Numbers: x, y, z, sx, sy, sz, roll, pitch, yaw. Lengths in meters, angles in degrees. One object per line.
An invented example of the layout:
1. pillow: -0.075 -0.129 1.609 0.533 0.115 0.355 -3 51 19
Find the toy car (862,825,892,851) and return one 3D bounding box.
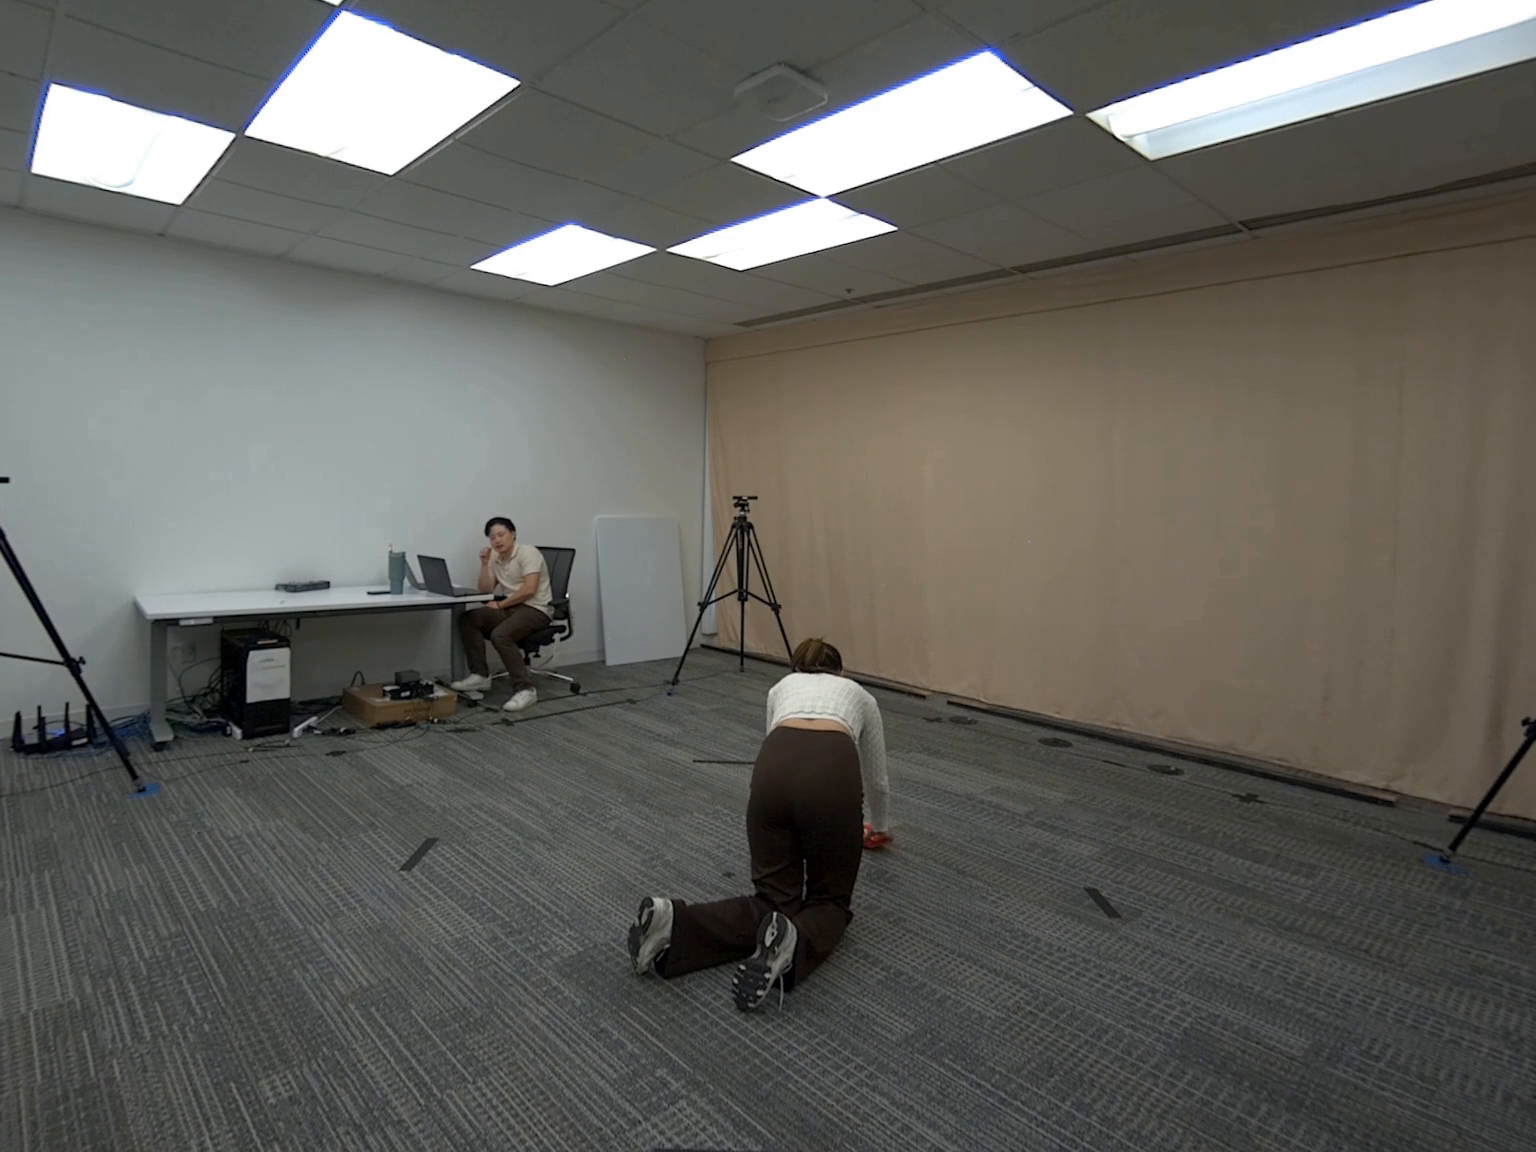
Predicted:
1. toy car: 0.382 1.054 3.438 0.128 0.083 0.258 0 -6 -28
